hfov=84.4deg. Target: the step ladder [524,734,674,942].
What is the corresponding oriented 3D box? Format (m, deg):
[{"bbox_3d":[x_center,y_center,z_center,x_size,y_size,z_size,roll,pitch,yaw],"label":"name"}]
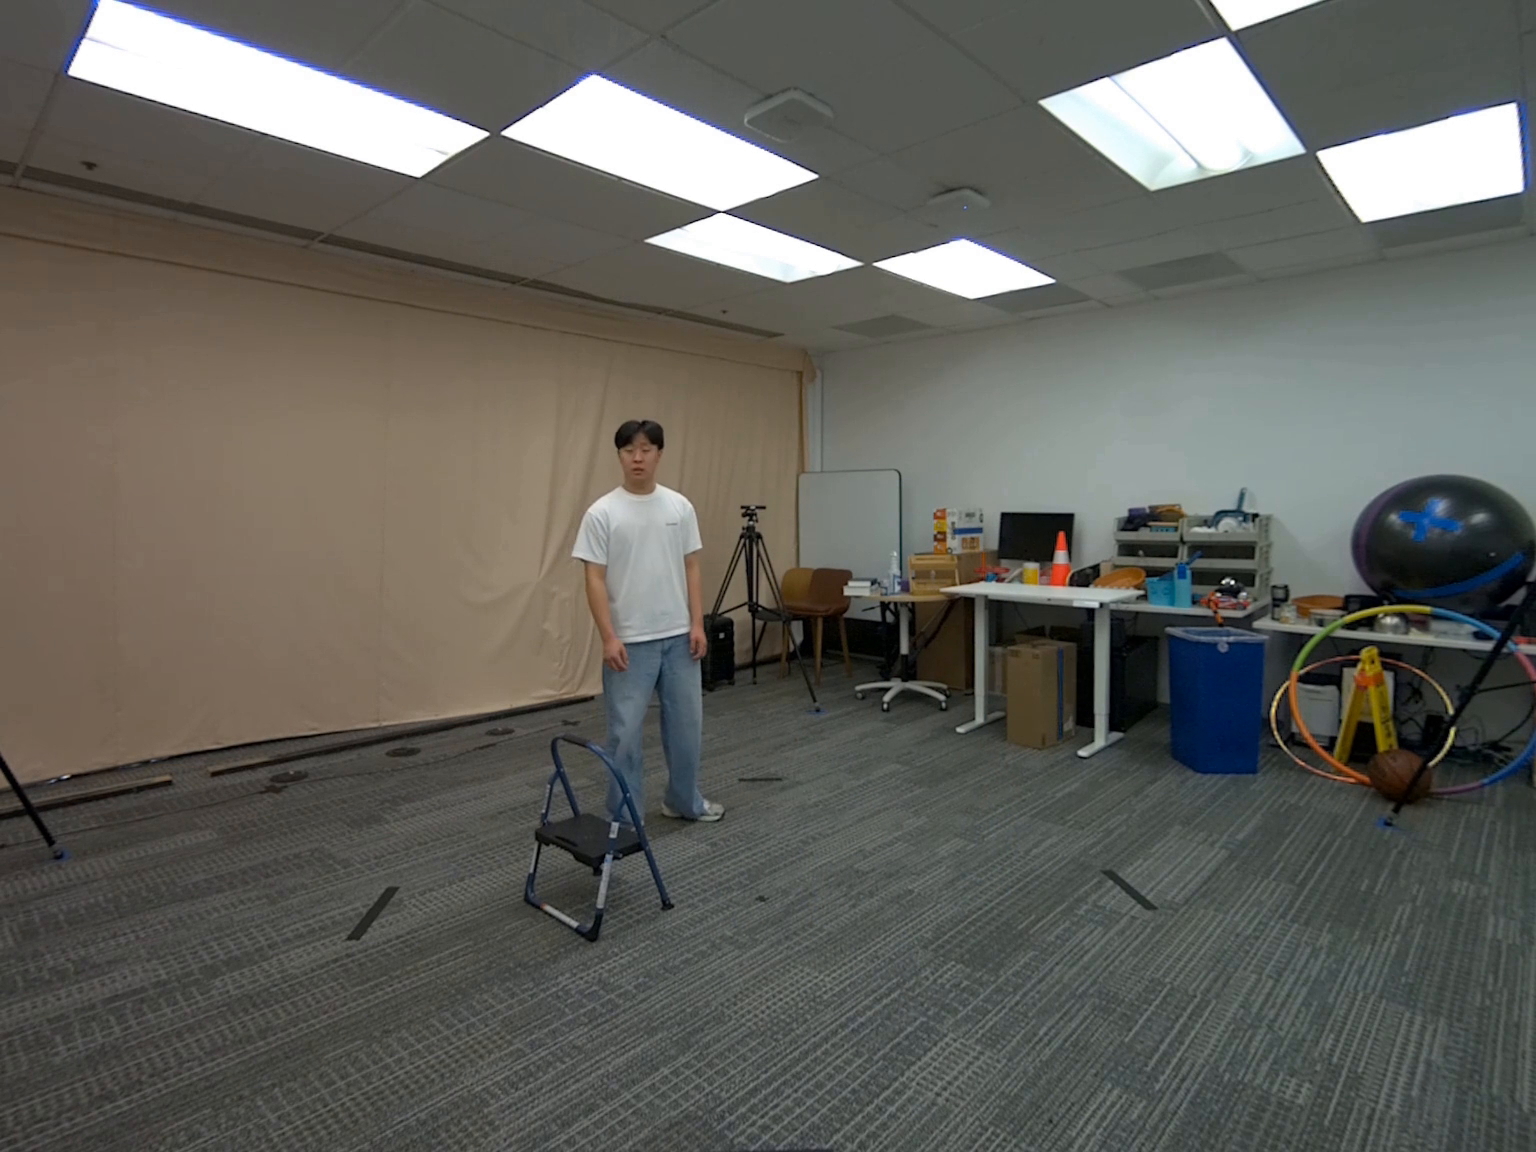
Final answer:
[{"bbox_3d":[-0.596,0.841,2.937,0.445,0.605,0.338,3,4,43],"label":"step ladder"}]
